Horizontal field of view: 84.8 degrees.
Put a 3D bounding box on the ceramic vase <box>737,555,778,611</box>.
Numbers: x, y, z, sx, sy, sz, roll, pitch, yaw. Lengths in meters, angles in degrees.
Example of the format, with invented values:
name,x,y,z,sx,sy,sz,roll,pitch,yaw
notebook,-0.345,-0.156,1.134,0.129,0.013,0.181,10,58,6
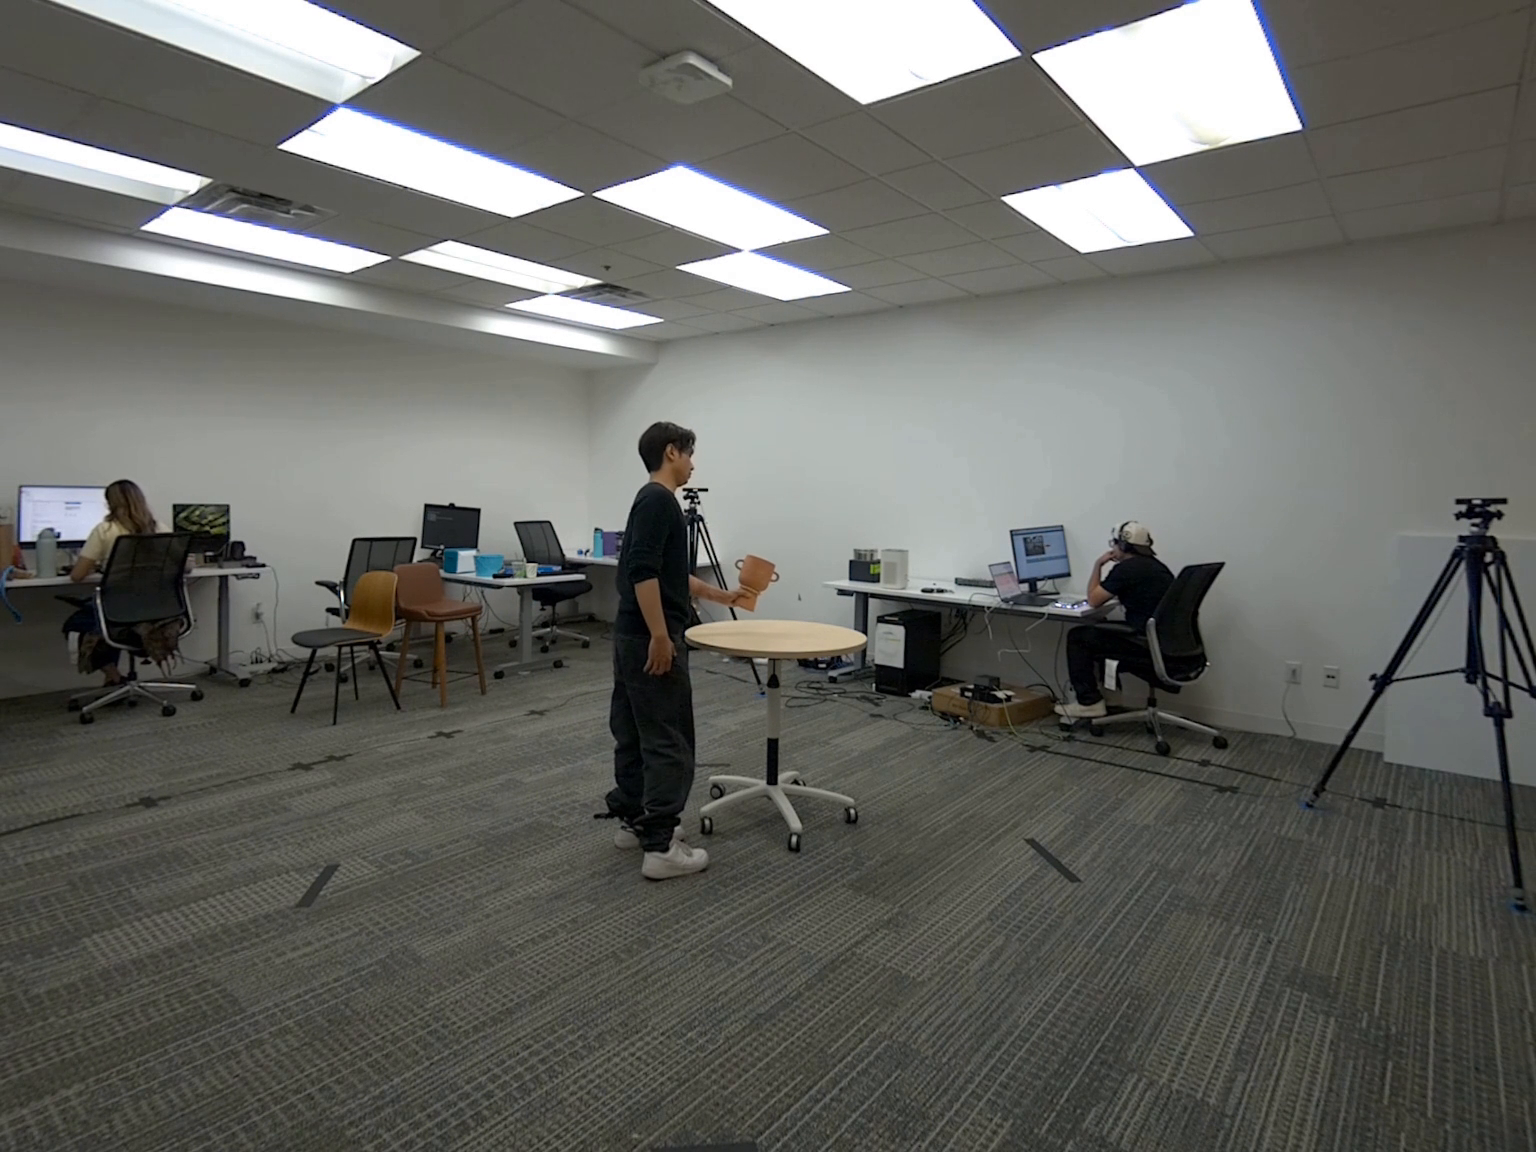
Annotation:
name,x,y,z,sx,sy,sz,roll,pitch,yaw
ceramic vase,-0.081,0.027,3.633,0.165,0.220,0.129,16,-8,41
